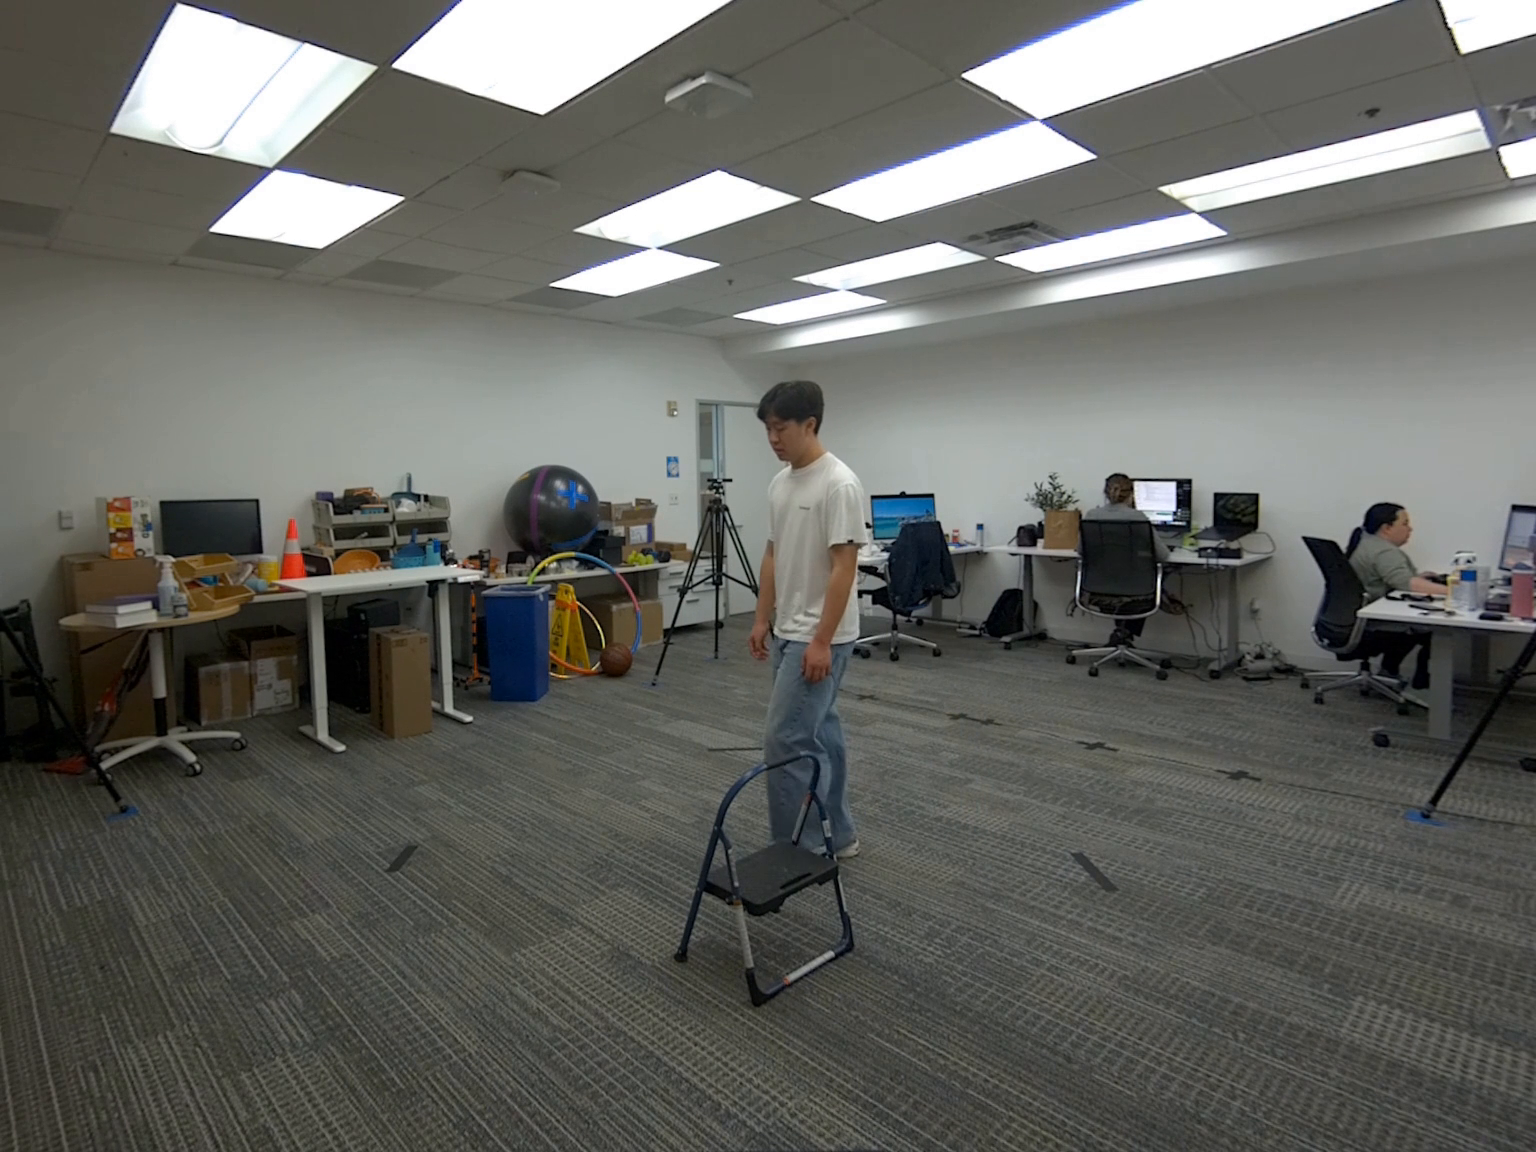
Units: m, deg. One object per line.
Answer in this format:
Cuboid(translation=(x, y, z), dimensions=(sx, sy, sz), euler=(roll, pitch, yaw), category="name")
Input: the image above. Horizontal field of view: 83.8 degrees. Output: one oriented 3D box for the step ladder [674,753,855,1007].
Cuboid(translation=(-0.011, 0.813, 2.500), dimensions=(0.360, 0.604, 0.419), euler=(3, 6, 45), category="step ladder")
